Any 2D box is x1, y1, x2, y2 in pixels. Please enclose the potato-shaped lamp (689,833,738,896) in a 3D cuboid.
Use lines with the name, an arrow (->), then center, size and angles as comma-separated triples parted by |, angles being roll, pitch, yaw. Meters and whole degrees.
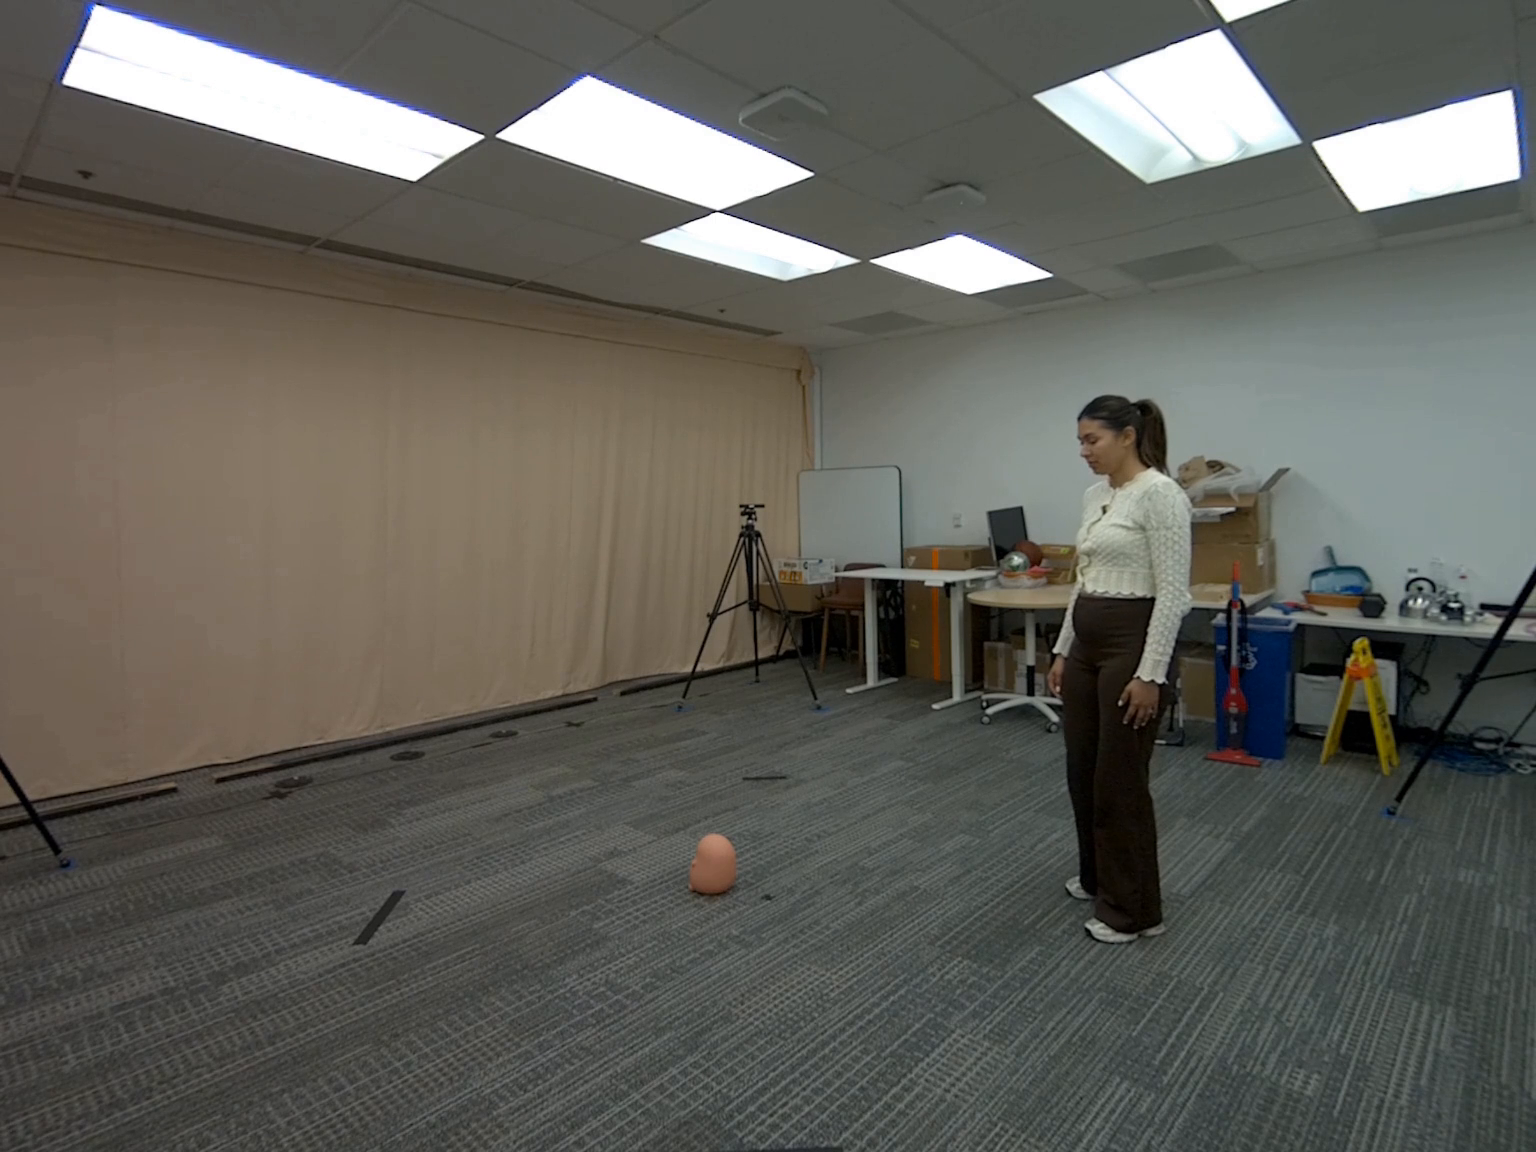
potato-shaped lamp -> -0.200, 1.038, 3.051 | 0.176, 0.198, 0.160 | 4, 3, 26
